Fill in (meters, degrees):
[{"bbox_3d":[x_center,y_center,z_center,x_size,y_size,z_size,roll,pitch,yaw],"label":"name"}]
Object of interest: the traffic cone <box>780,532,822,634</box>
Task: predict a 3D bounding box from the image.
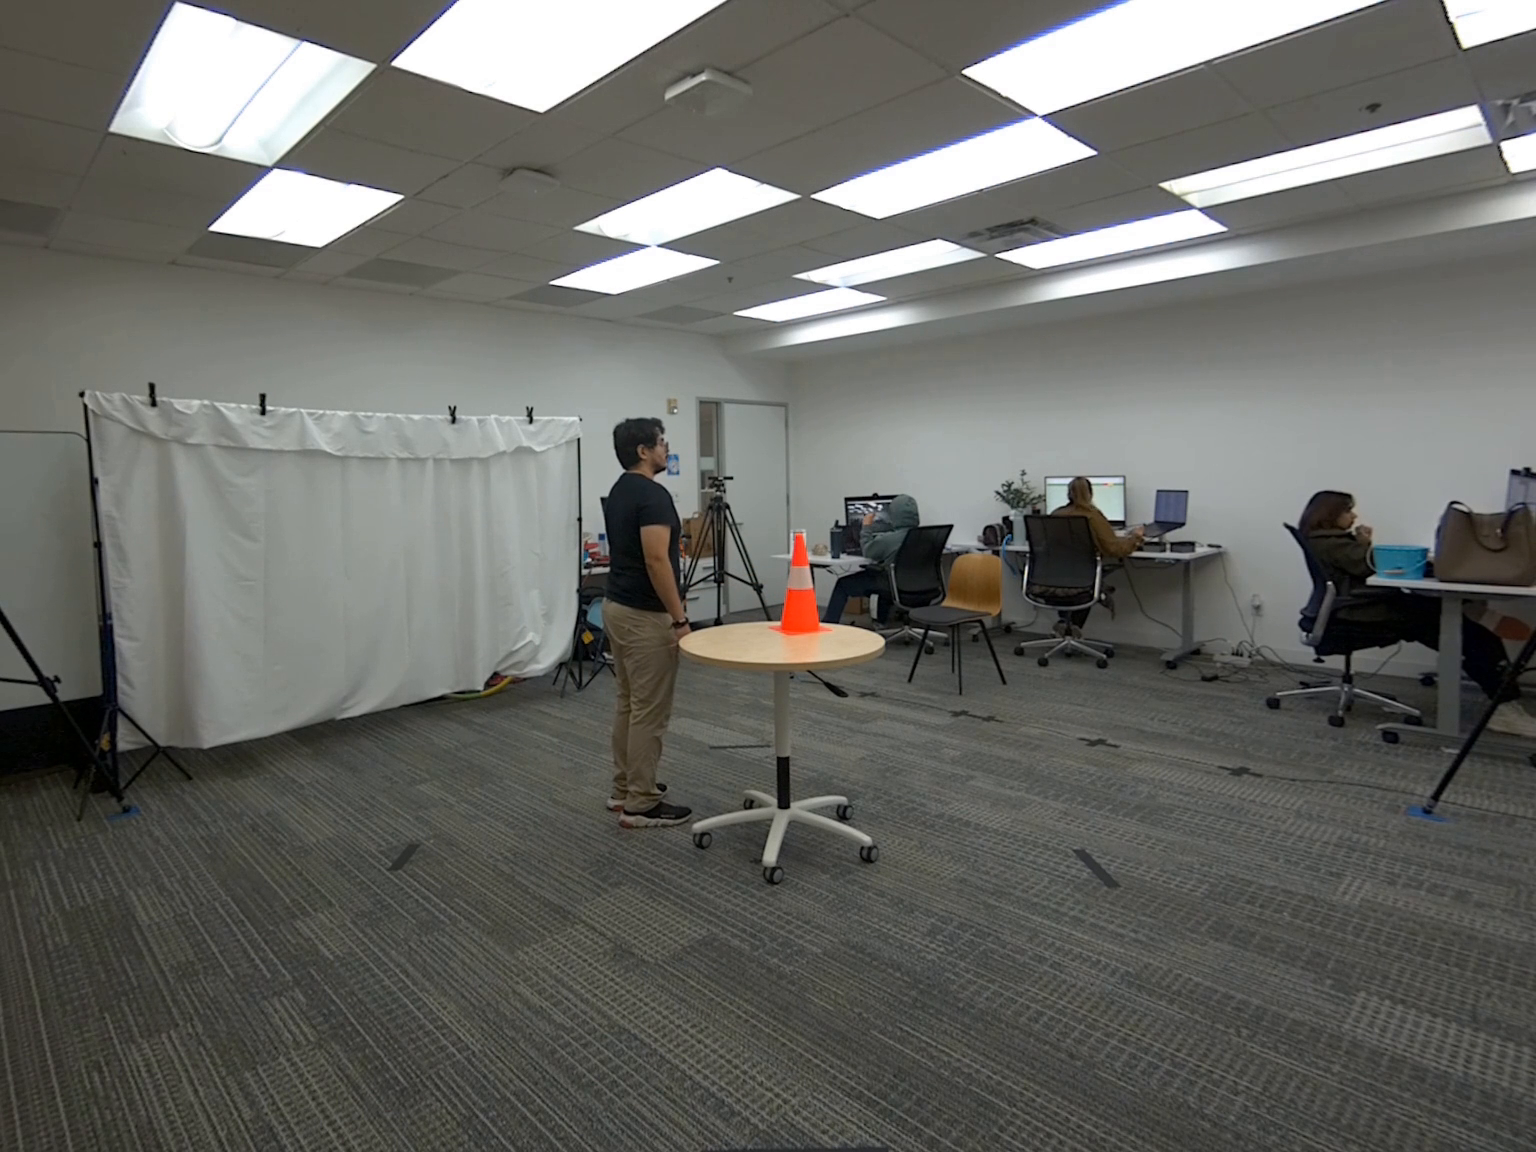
[{"bbox_3d":[0.121,0.026,3.394,0.200,0.382,0.209,-5,7,-31],"label":"traffic cone"}]
